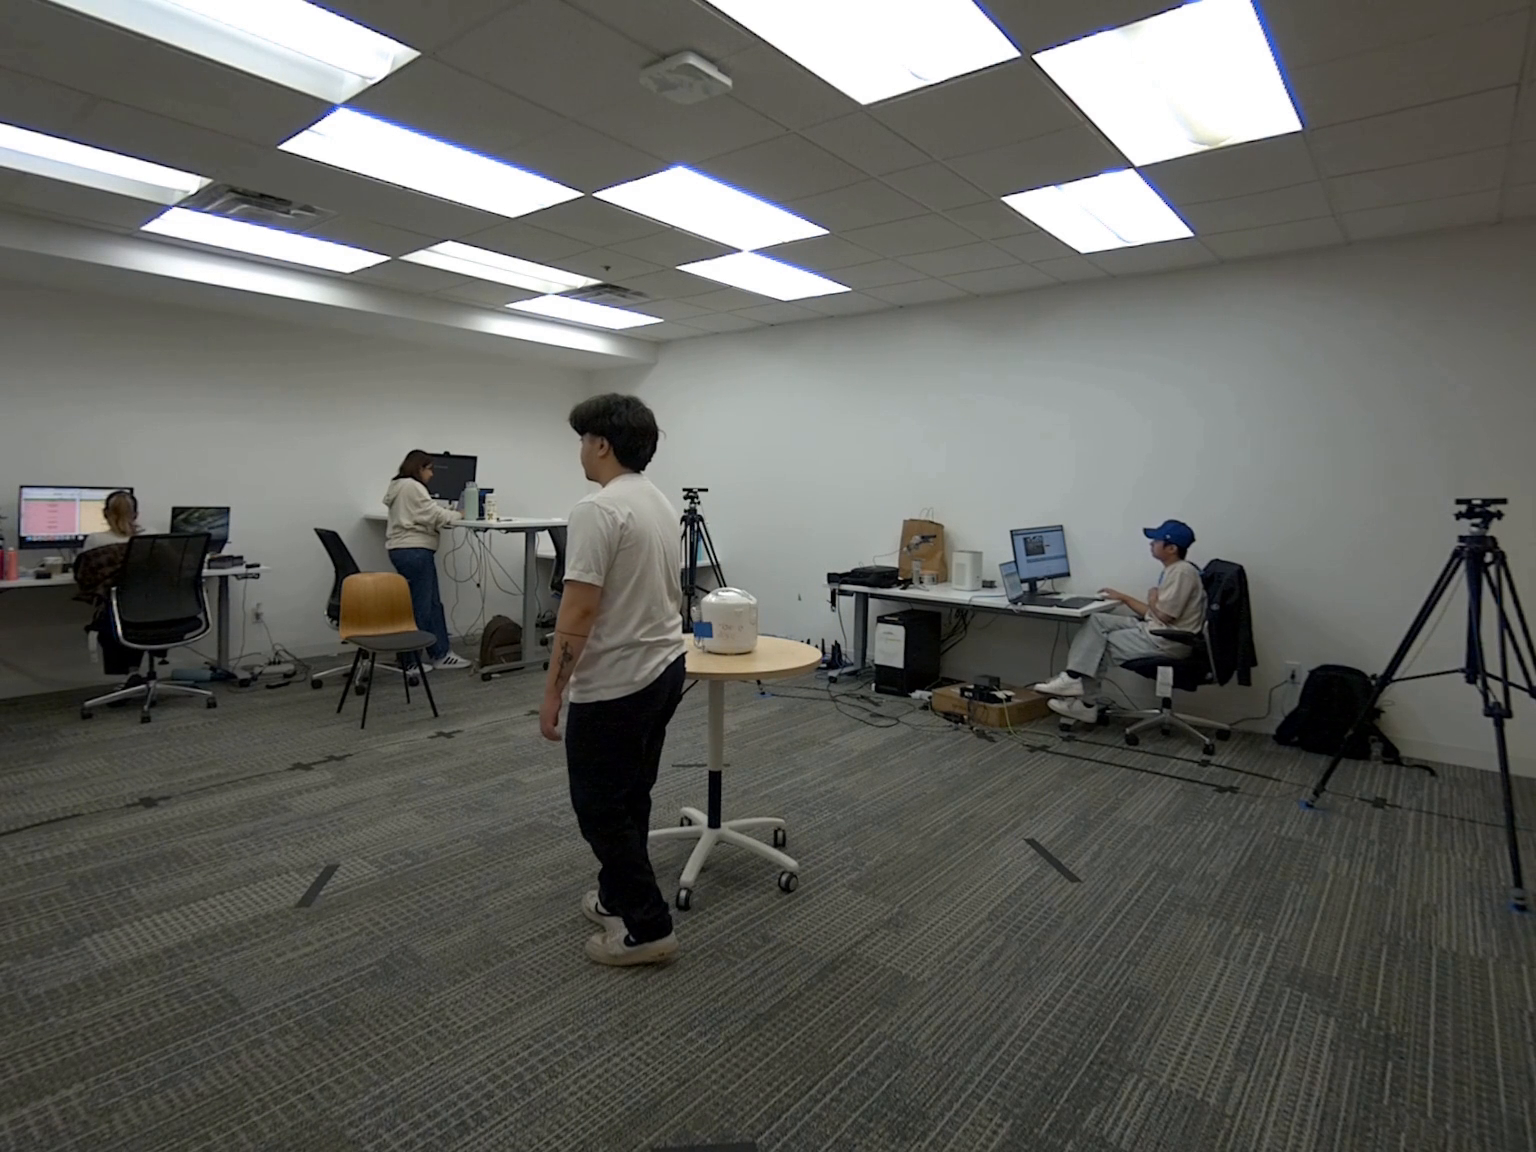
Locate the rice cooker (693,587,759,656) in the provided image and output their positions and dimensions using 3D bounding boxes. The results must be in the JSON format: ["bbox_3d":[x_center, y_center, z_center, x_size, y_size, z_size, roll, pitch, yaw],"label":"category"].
[{"bbox_3d":[-0.151,0.151,3.125,0.227,0.232,0.212,3,6,31],"label":"rice cooker"}]
